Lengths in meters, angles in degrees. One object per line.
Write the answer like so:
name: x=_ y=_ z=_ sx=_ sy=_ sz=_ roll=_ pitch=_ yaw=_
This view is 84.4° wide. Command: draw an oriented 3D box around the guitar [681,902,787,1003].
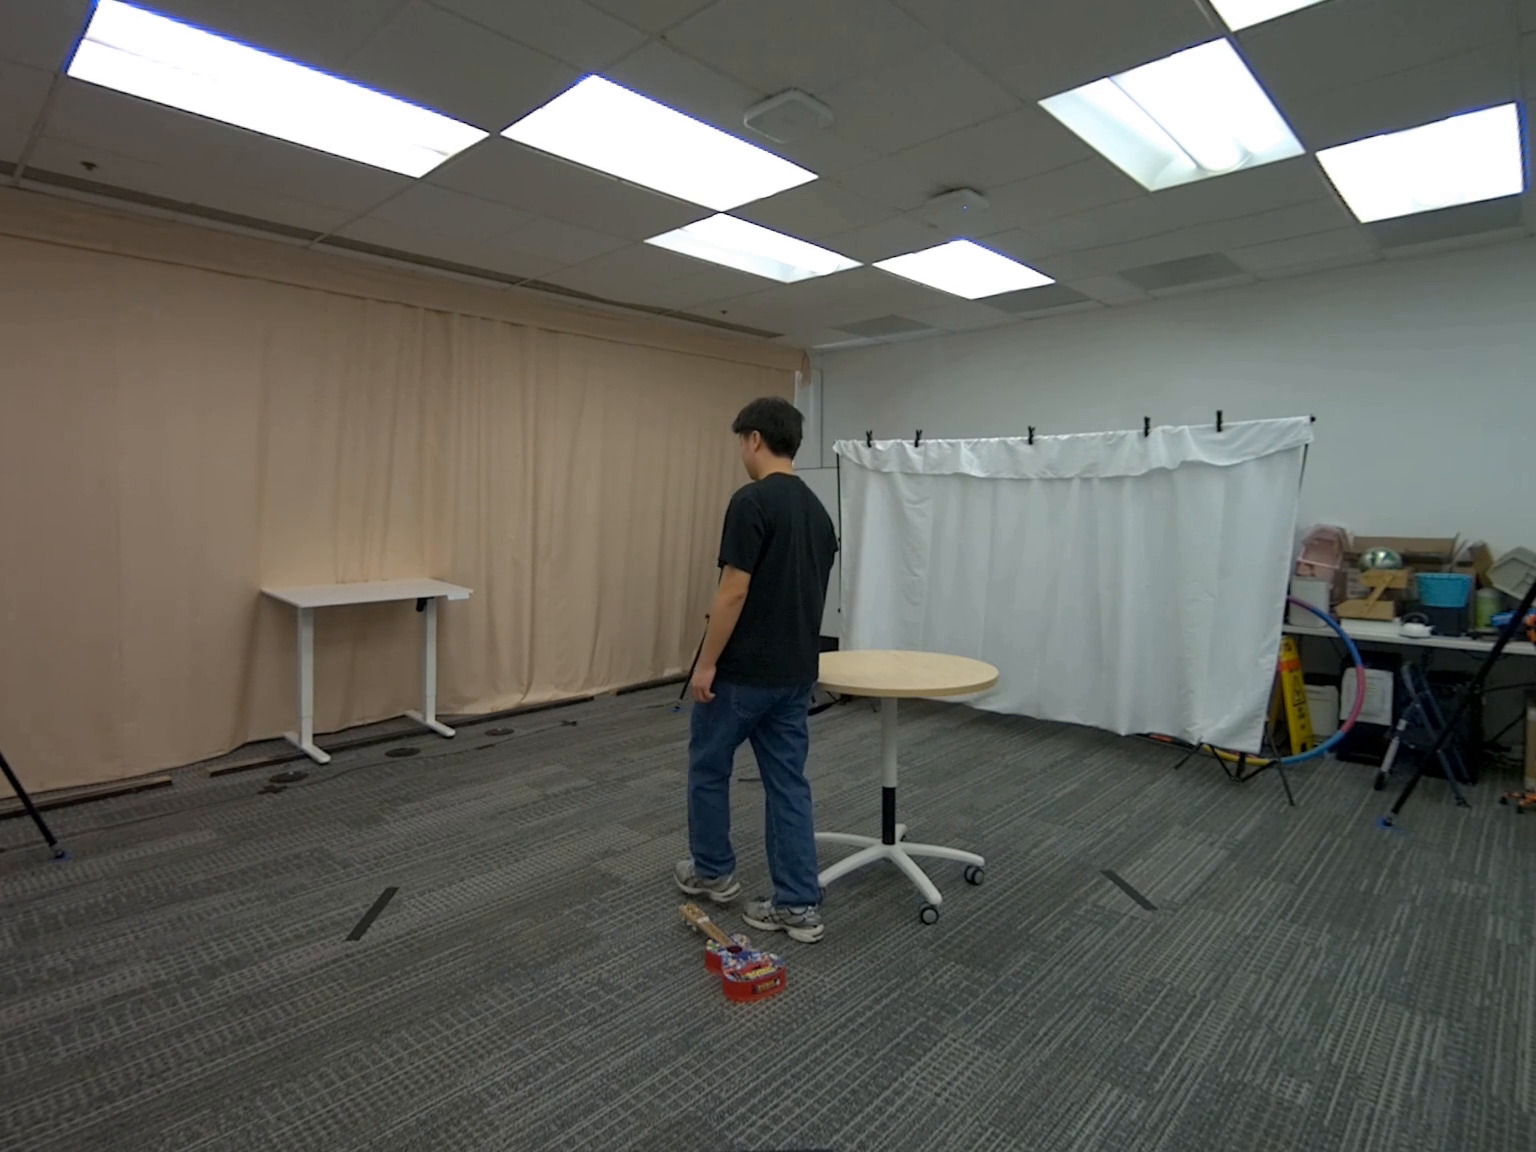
guitar: x=-0.113 y=1.141 z=2.608 sx=0.189 sy=0.070 sz=0.510 roll=-3 pitch=6 yaw=-23
